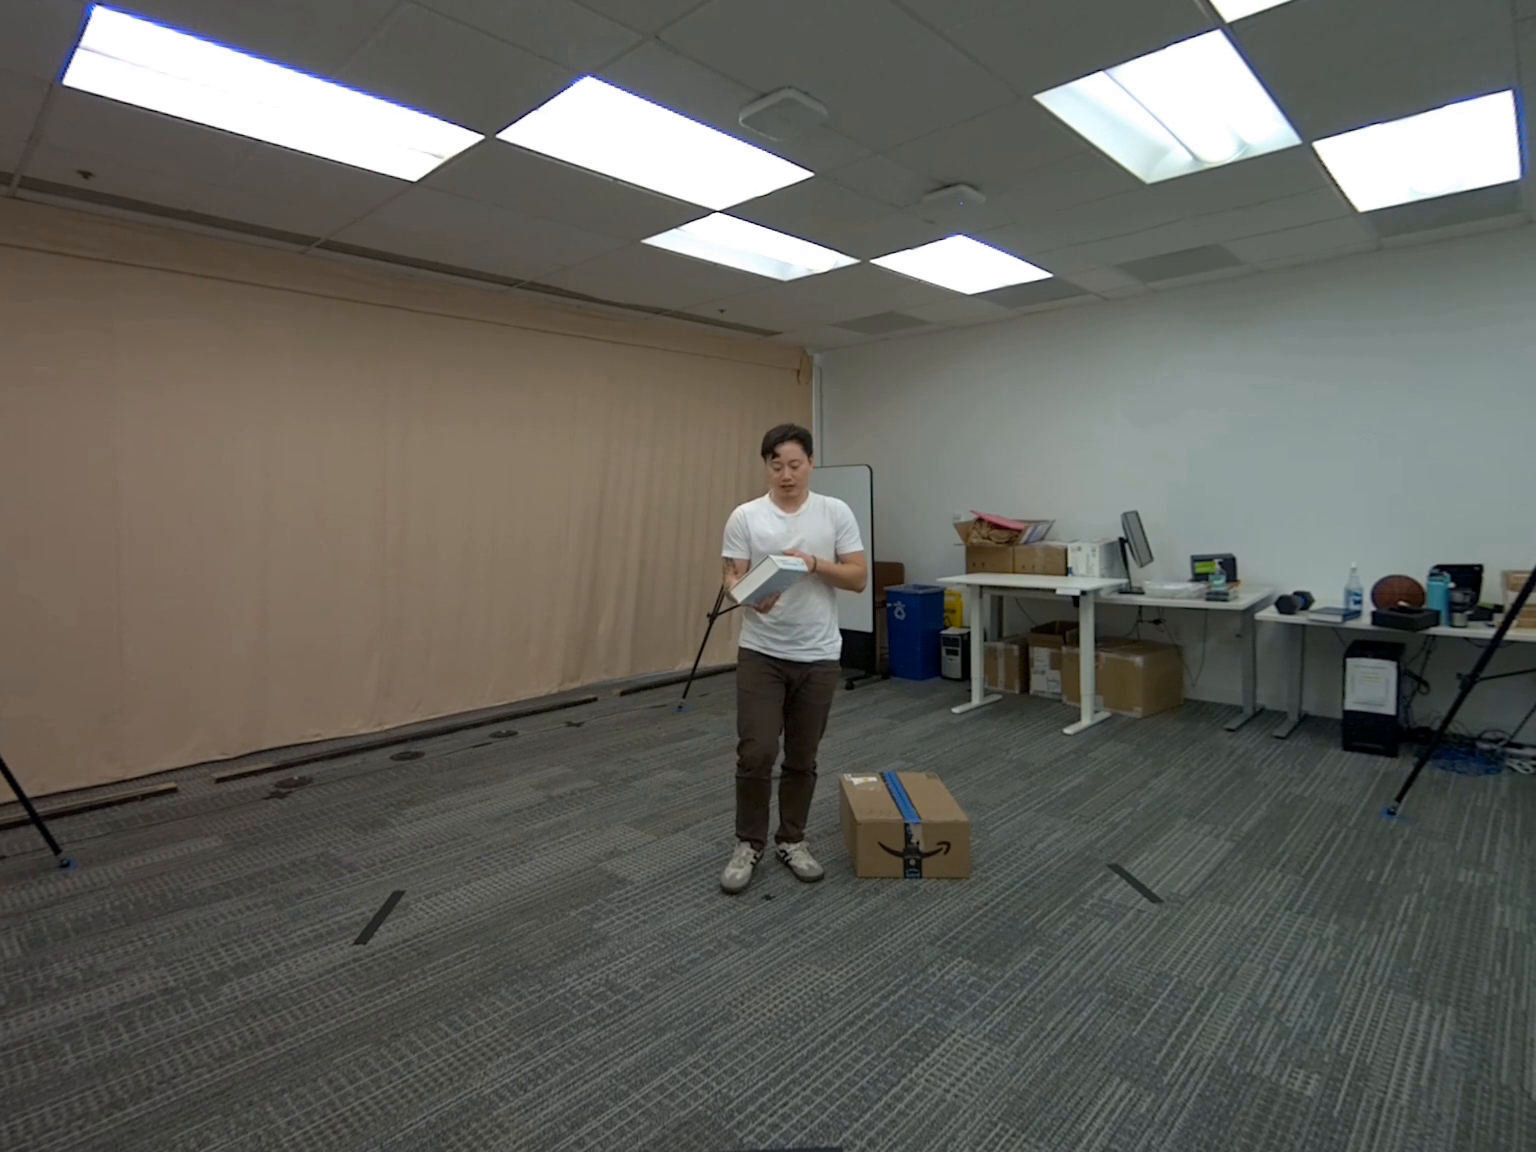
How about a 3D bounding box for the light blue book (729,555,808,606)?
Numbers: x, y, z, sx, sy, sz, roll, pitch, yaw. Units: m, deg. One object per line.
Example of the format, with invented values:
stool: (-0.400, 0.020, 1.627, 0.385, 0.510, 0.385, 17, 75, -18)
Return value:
light blue book: (0.000, 0.012, 2.779, 0.193, 0.060, 0.254, -40, -16, 18)
